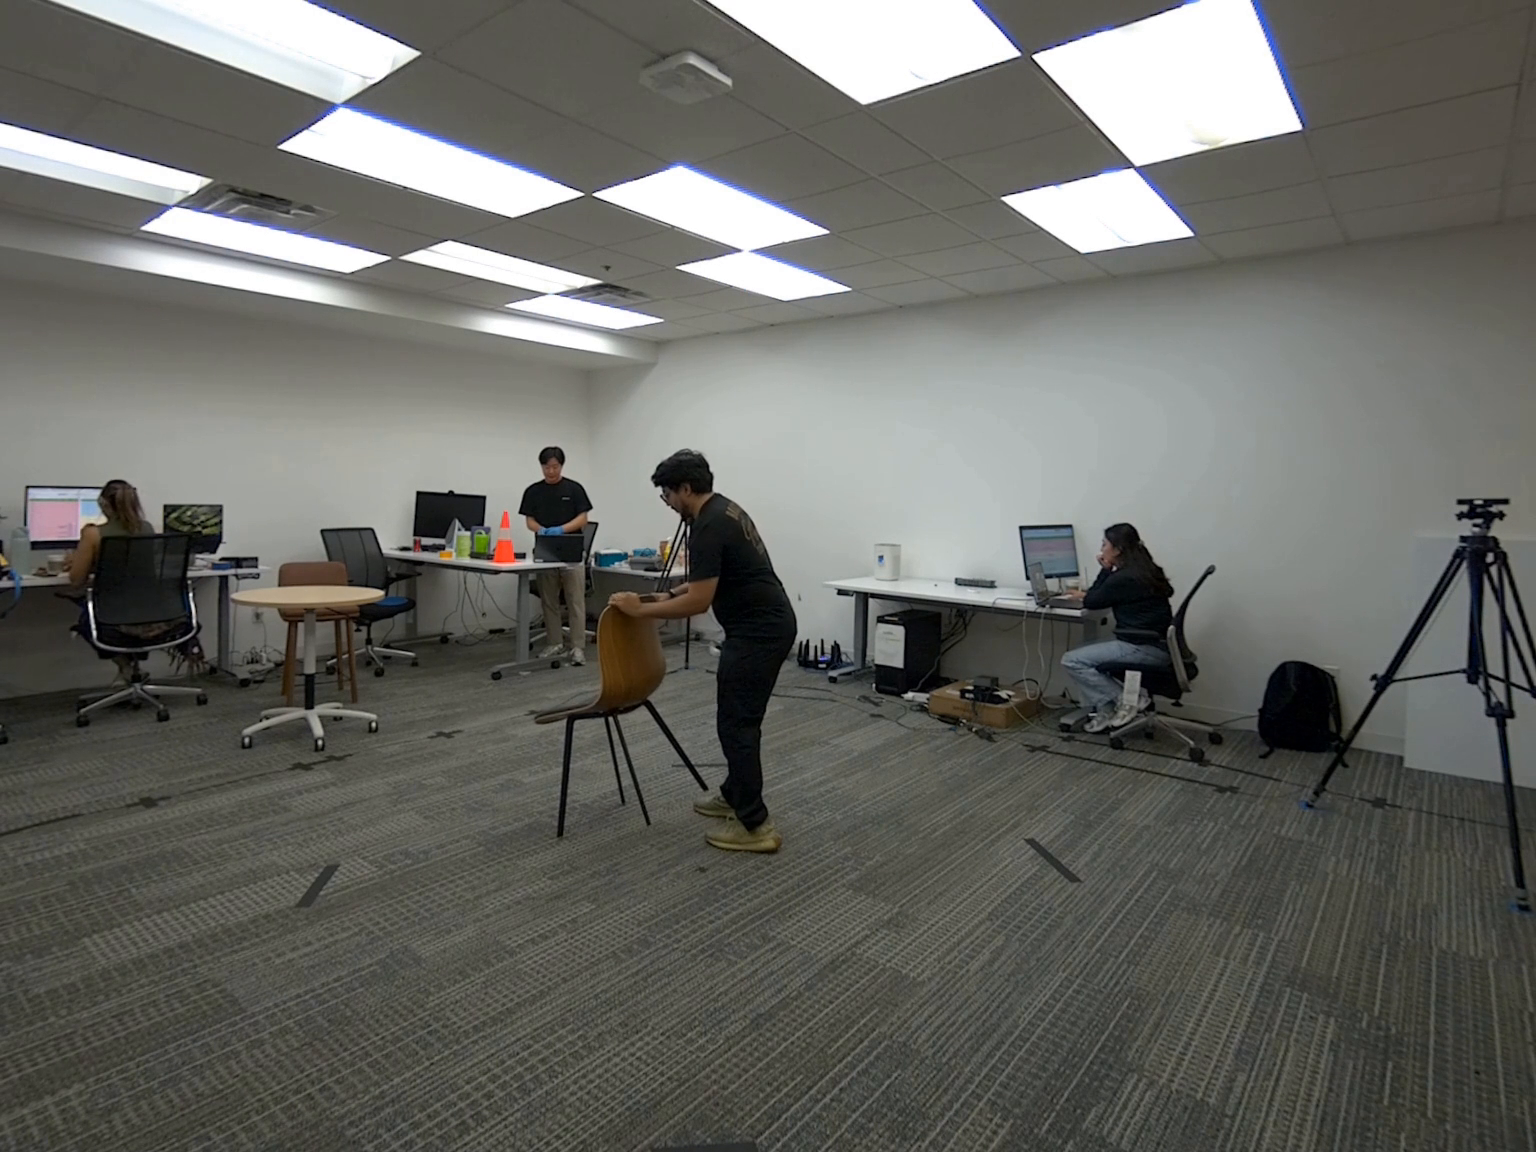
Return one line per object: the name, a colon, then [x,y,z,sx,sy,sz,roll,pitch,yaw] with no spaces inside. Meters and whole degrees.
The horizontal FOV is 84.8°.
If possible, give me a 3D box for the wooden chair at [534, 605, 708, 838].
wooden chair: [-0.673,0.552,3.496,0.534,0.881,0.466,-13,-3,28]
